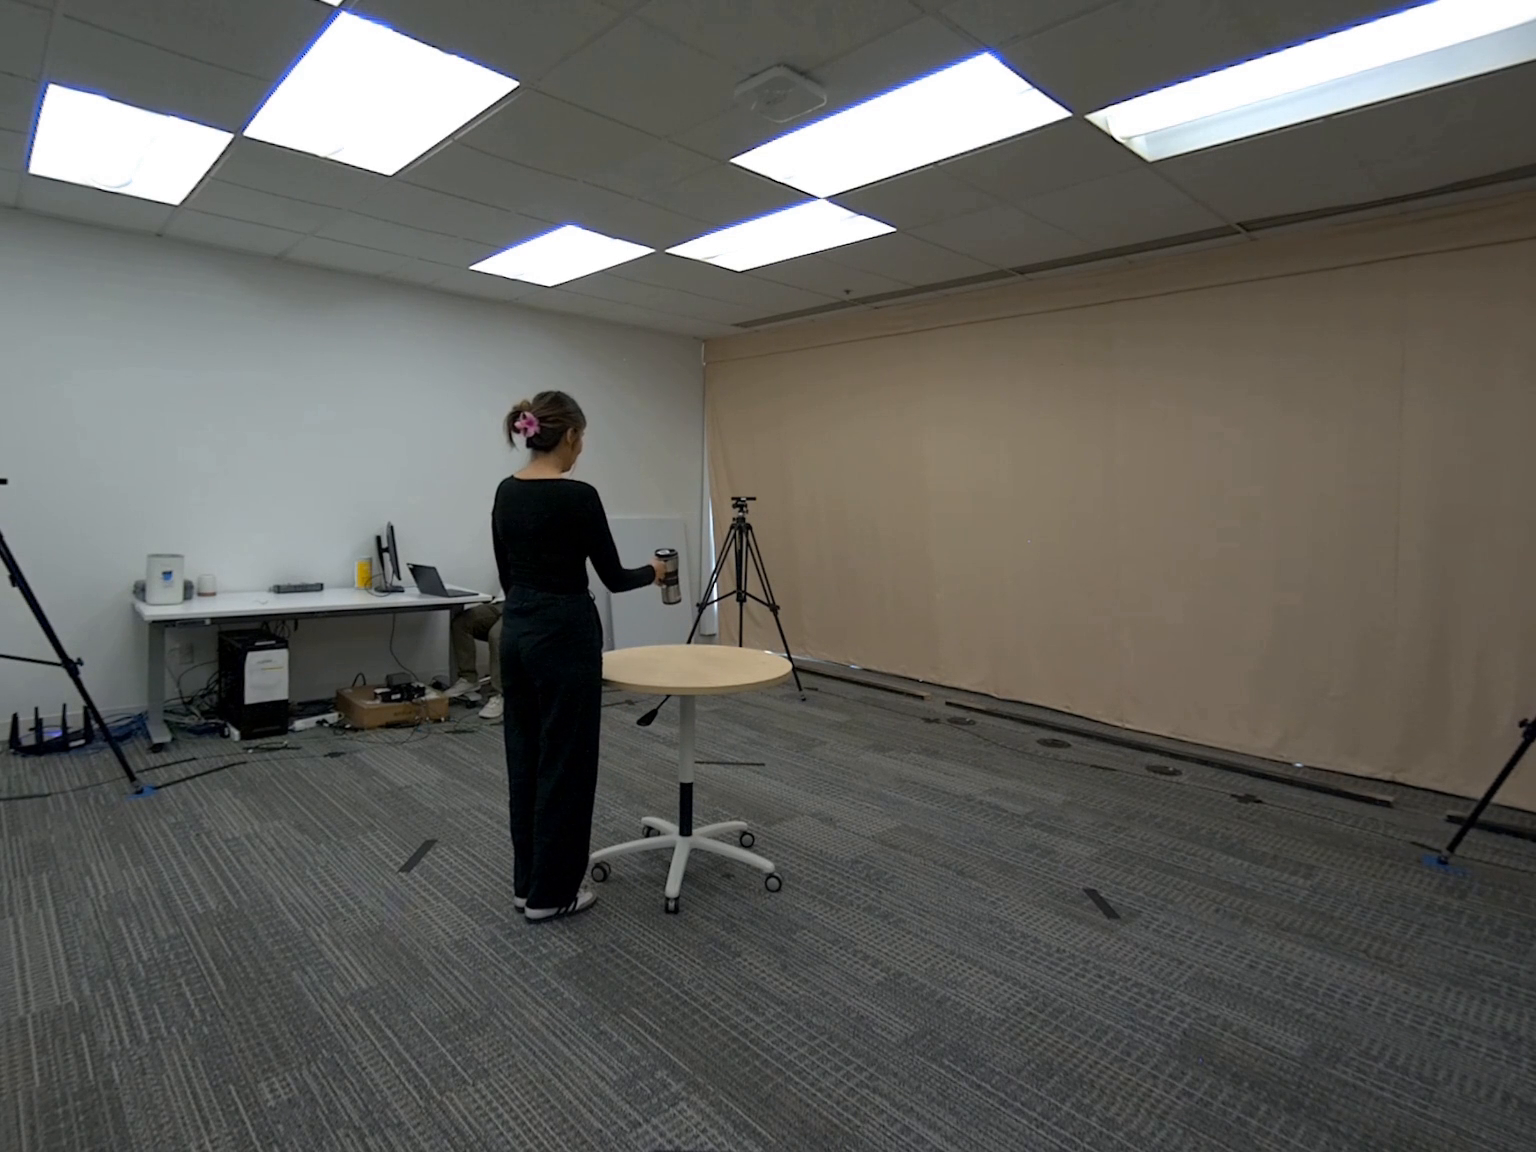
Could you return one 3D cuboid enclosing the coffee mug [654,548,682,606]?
[{"bbox_3d":[-0.400,0.021,3.127,0.120,0.201,0.090,-9,19,-33],"label":"coffee mug"}]
